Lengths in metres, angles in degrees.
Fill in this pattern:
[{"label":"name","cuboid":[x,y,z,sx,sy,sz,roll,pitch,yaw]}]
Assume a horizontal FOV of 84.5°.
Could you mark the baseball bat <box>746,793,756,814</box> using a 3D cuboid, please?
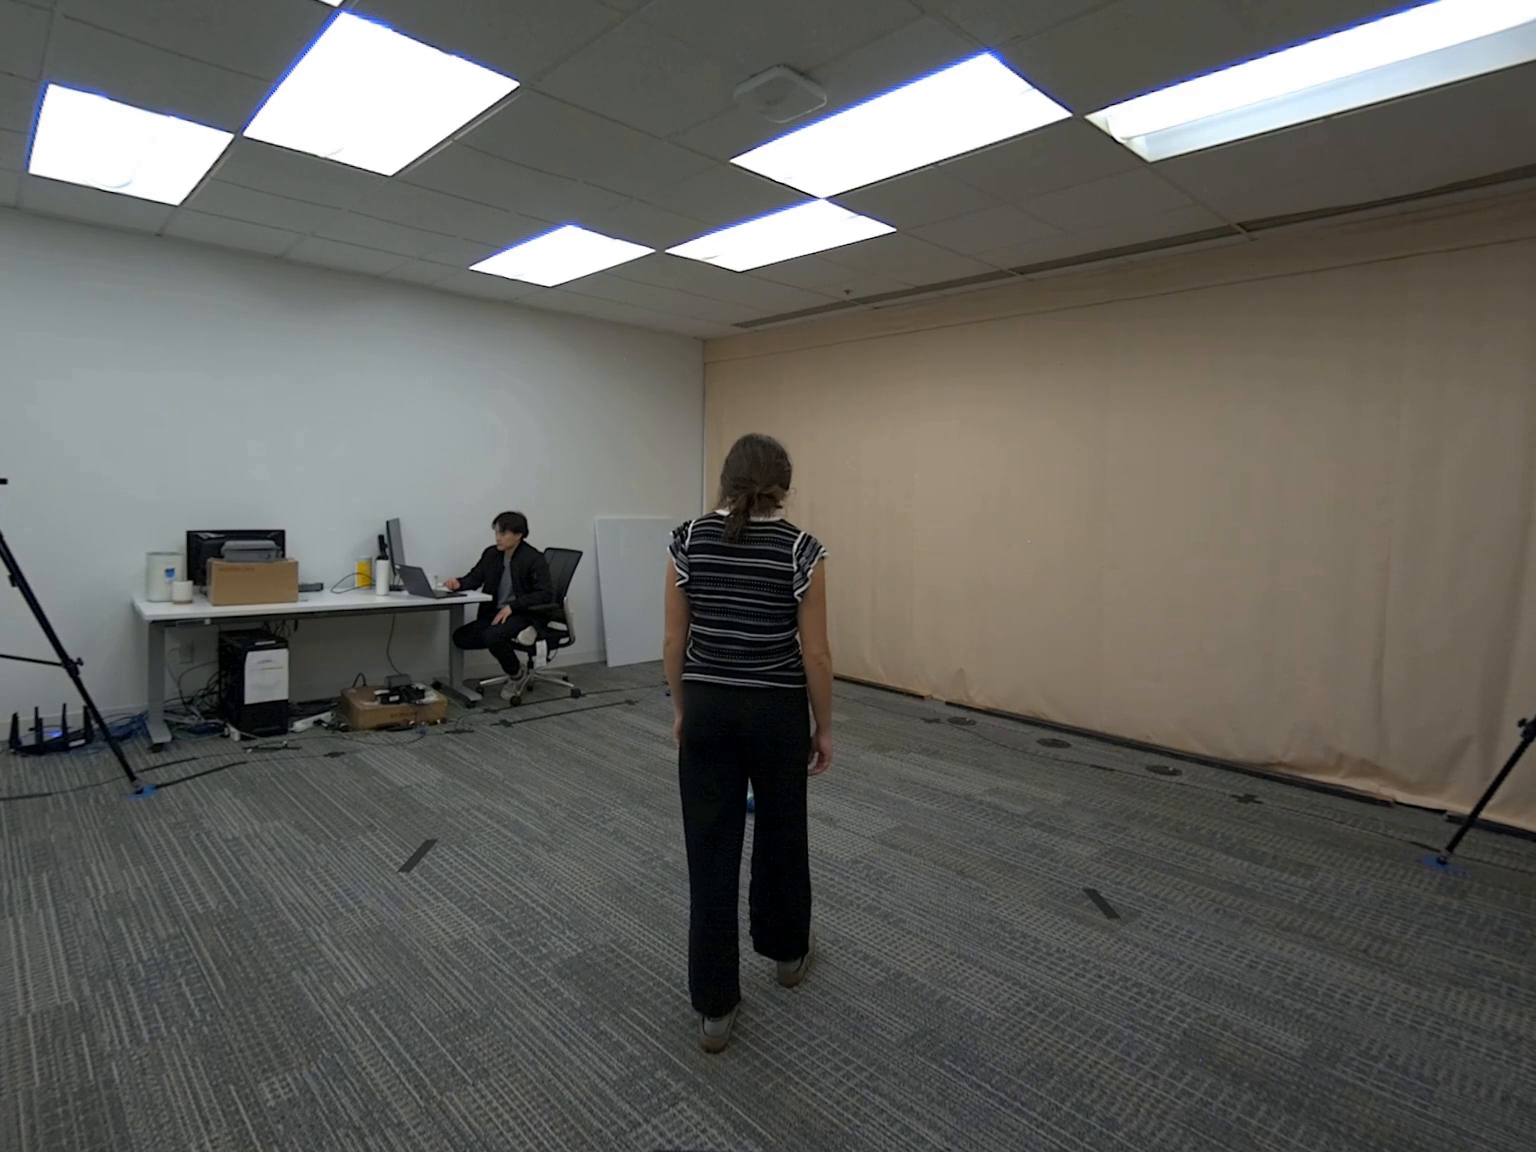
[{"label":"baseball bat","cuboid":[-0.064,1.024,3.739,0.087,0.088,0.558,-2,10,-42]}]
